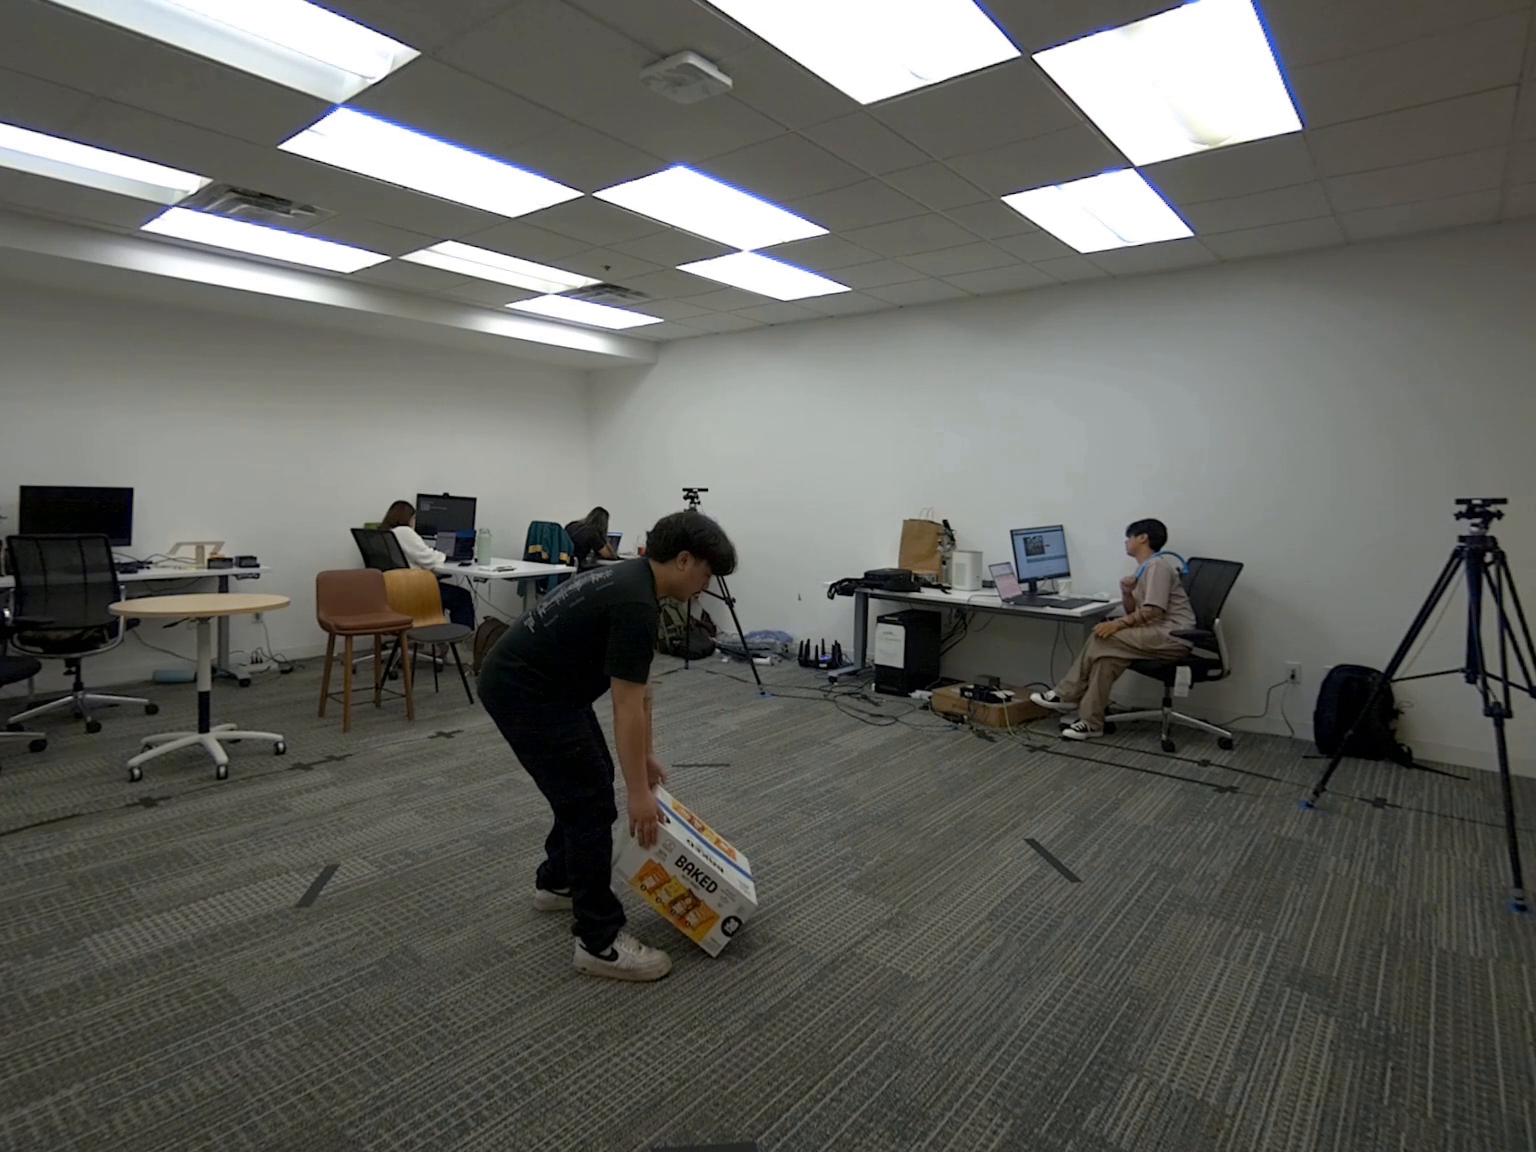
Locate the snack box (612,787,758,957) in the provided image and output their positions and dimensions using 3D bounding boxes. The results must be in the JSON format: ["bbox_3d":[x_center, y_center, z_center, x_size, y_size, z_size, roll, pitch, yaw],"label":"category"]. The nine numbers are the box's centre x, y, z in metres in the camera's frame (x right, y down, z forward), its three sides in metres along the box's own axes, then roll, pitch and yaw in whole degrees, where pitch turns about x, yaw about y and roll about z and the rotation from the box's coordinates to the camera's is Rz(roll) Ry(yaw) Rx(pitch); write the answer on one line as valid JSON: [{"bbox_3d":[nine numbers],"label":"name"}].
[{"bbox_3d":[-0.269,0.906,2.655,0.403,0.206,0.343,40,-2,-6],"label":"snack box"}]
